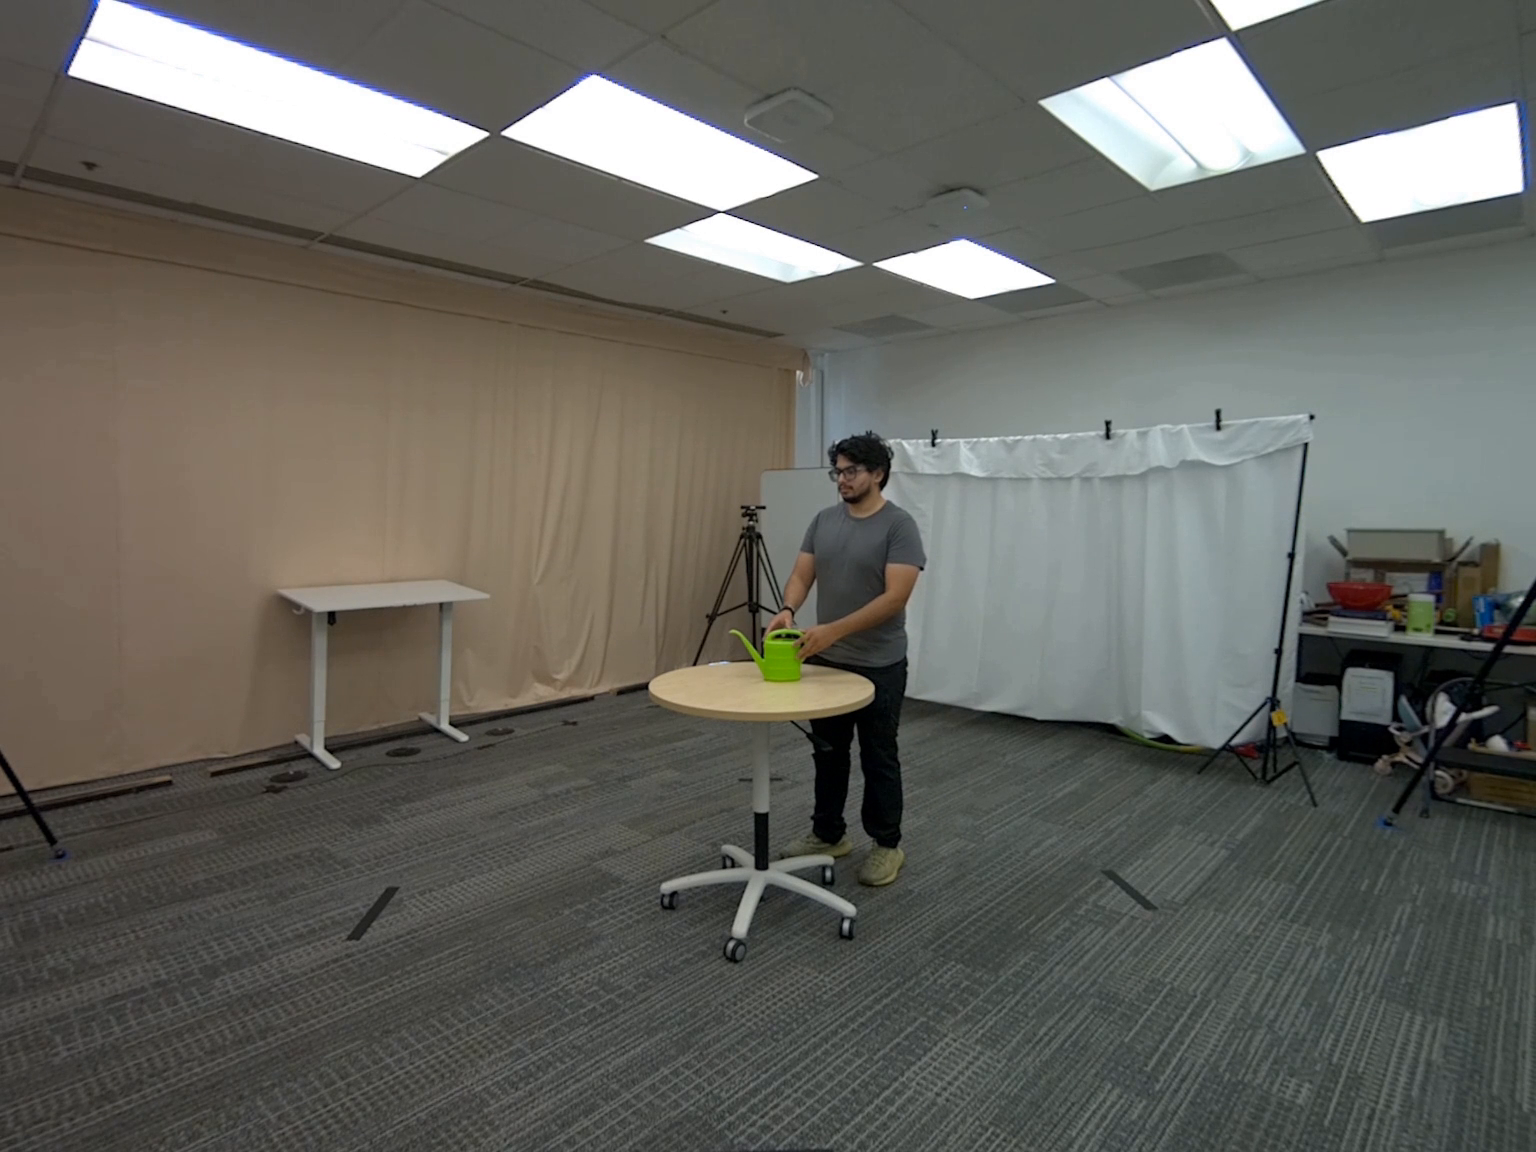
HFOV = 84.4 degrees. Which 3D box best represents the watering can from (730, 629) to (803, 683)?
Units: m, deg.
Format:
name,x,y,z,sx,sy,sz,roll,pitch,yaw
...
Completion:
name,x,y,z,sx,sy,sz,roll,pitch,yaw
watering can,0.005,0.281,2.949,0.281,0.177,0.097,0,1,7
